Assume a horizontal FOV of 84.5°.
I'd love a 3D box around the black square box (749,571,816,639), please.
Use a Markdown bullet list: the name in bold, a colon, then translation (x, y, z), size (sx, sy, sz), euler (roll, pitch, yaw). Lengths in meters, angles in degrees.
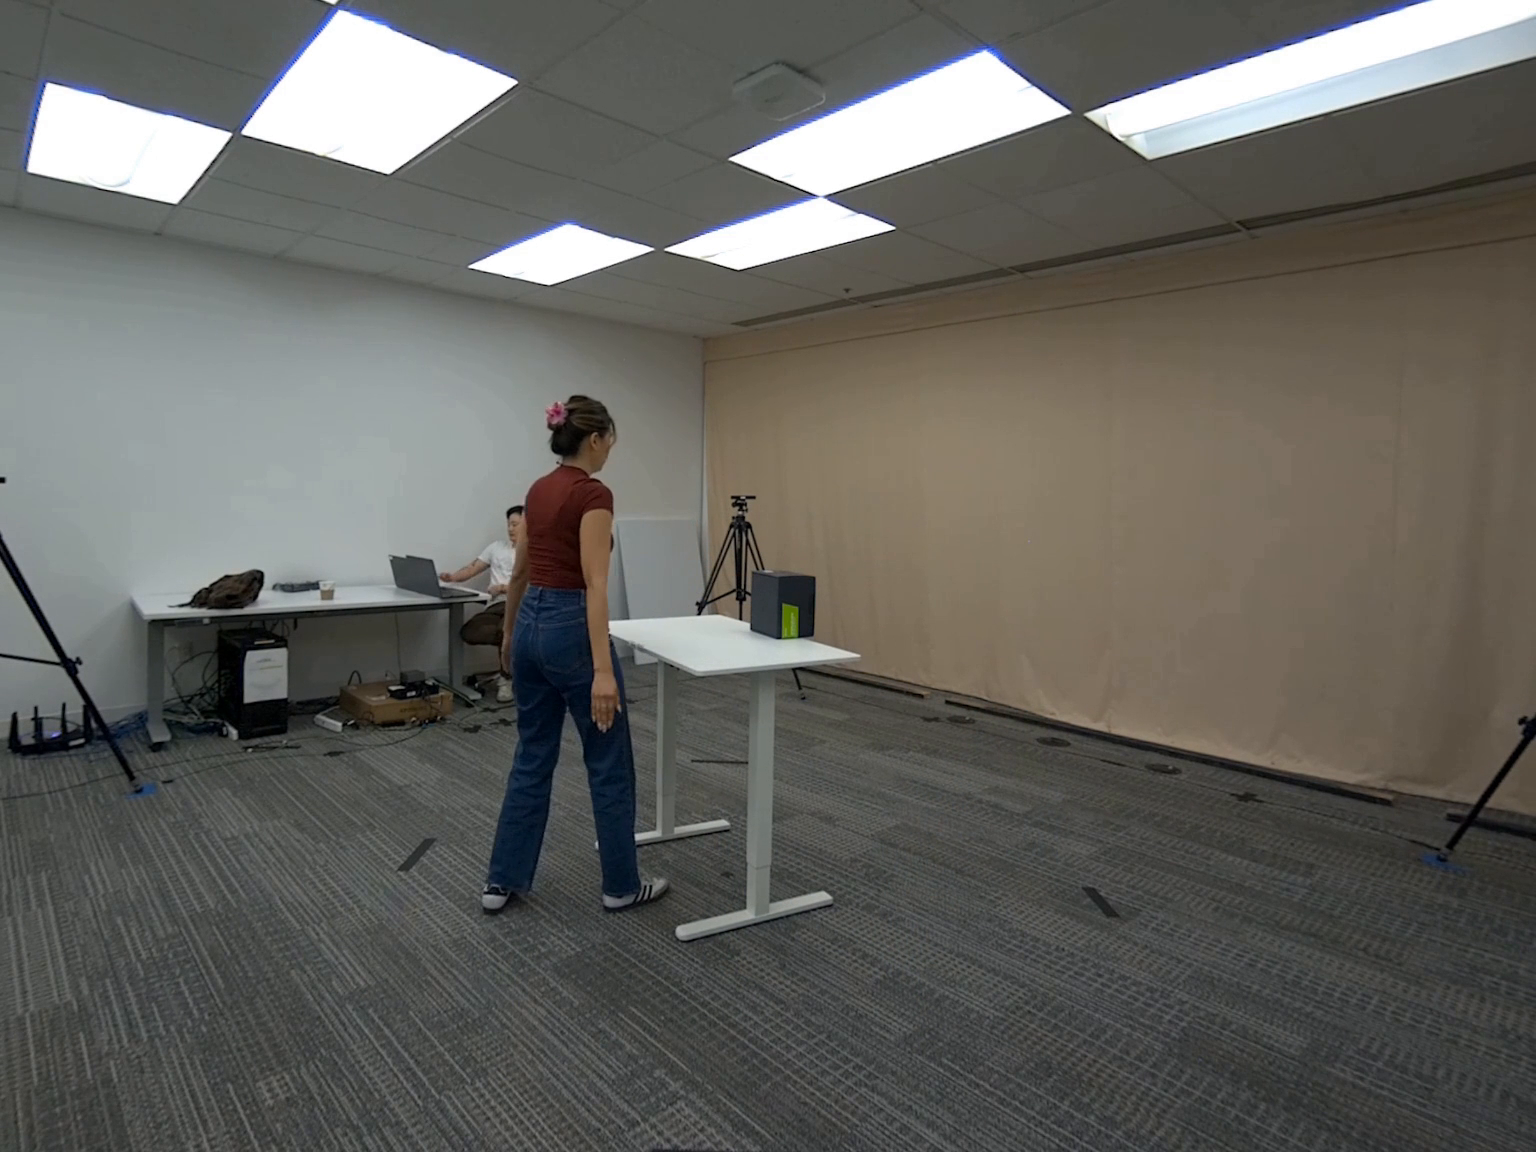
- **black square box**: translation (0.047, 0.104, 3.146), size (0.153, 0.227, 0.222), euler (-1, 5, -28)
